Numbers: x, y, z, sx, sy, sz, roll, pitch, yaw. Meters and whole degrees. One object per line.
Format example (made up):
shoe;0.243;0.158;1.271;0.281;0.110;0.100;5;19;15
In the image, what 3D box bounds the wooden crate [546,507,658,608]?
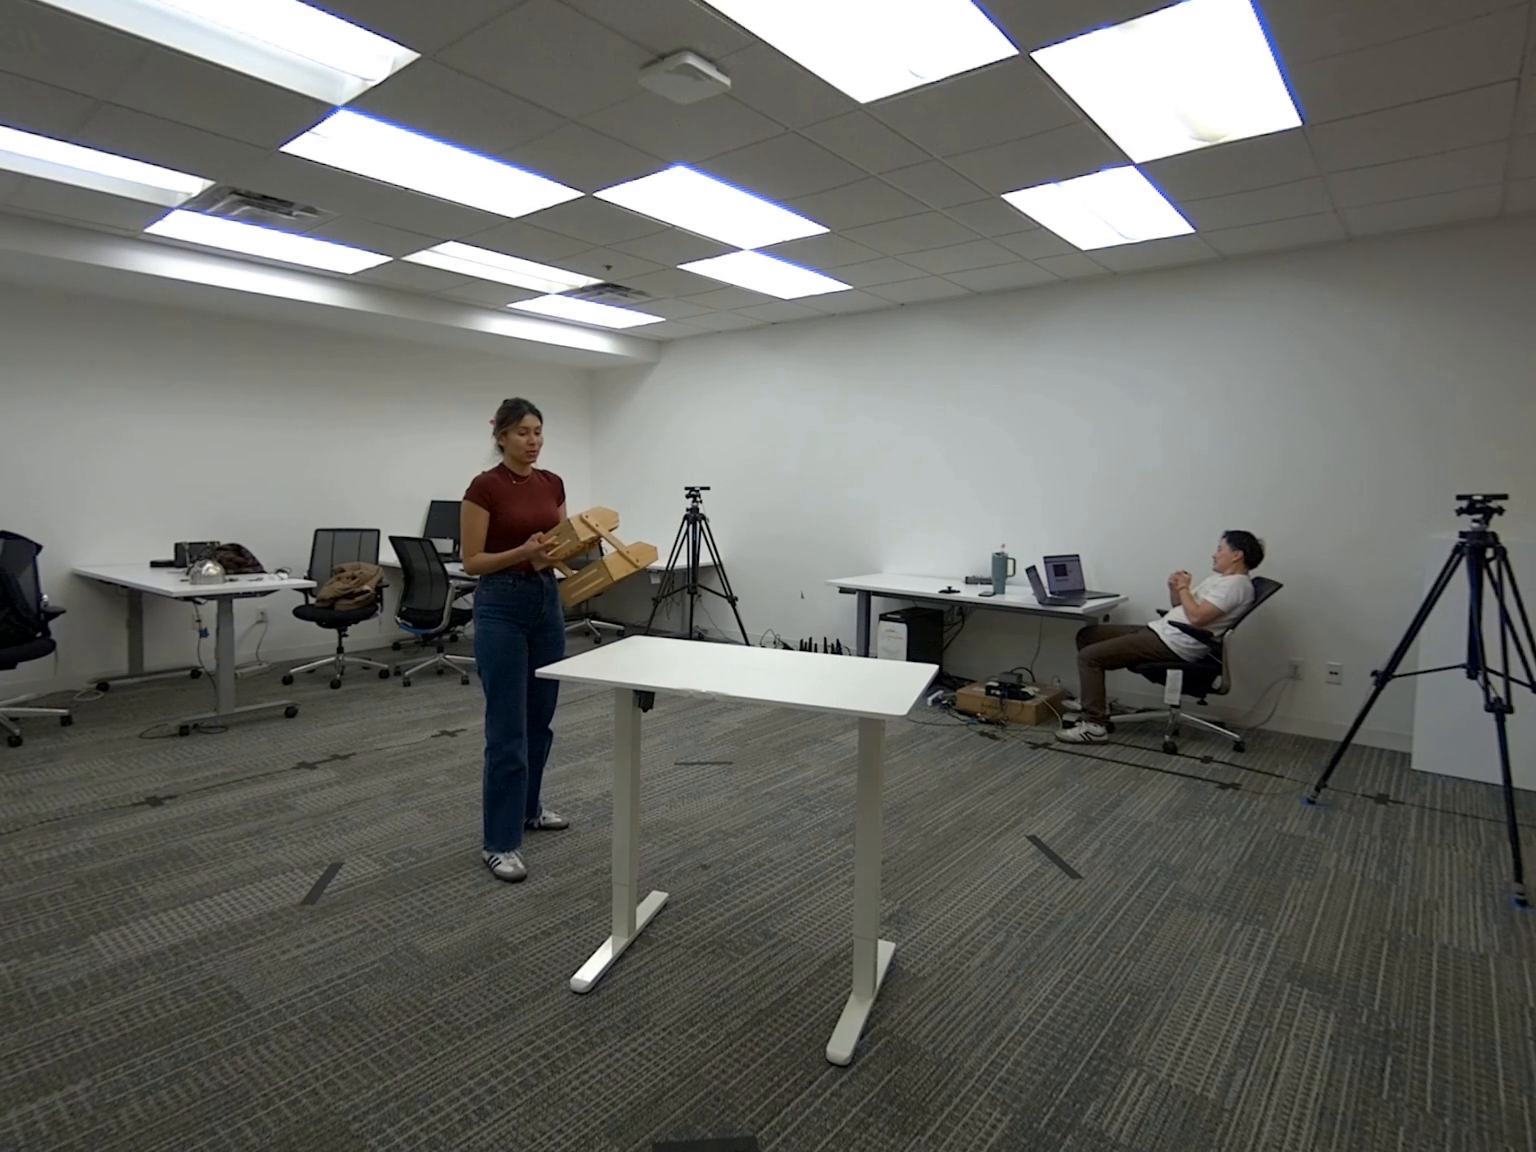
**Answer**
wooden crate;-0.642;-0.086;3.059;0.329;0.273;0.298;-27;1;40
